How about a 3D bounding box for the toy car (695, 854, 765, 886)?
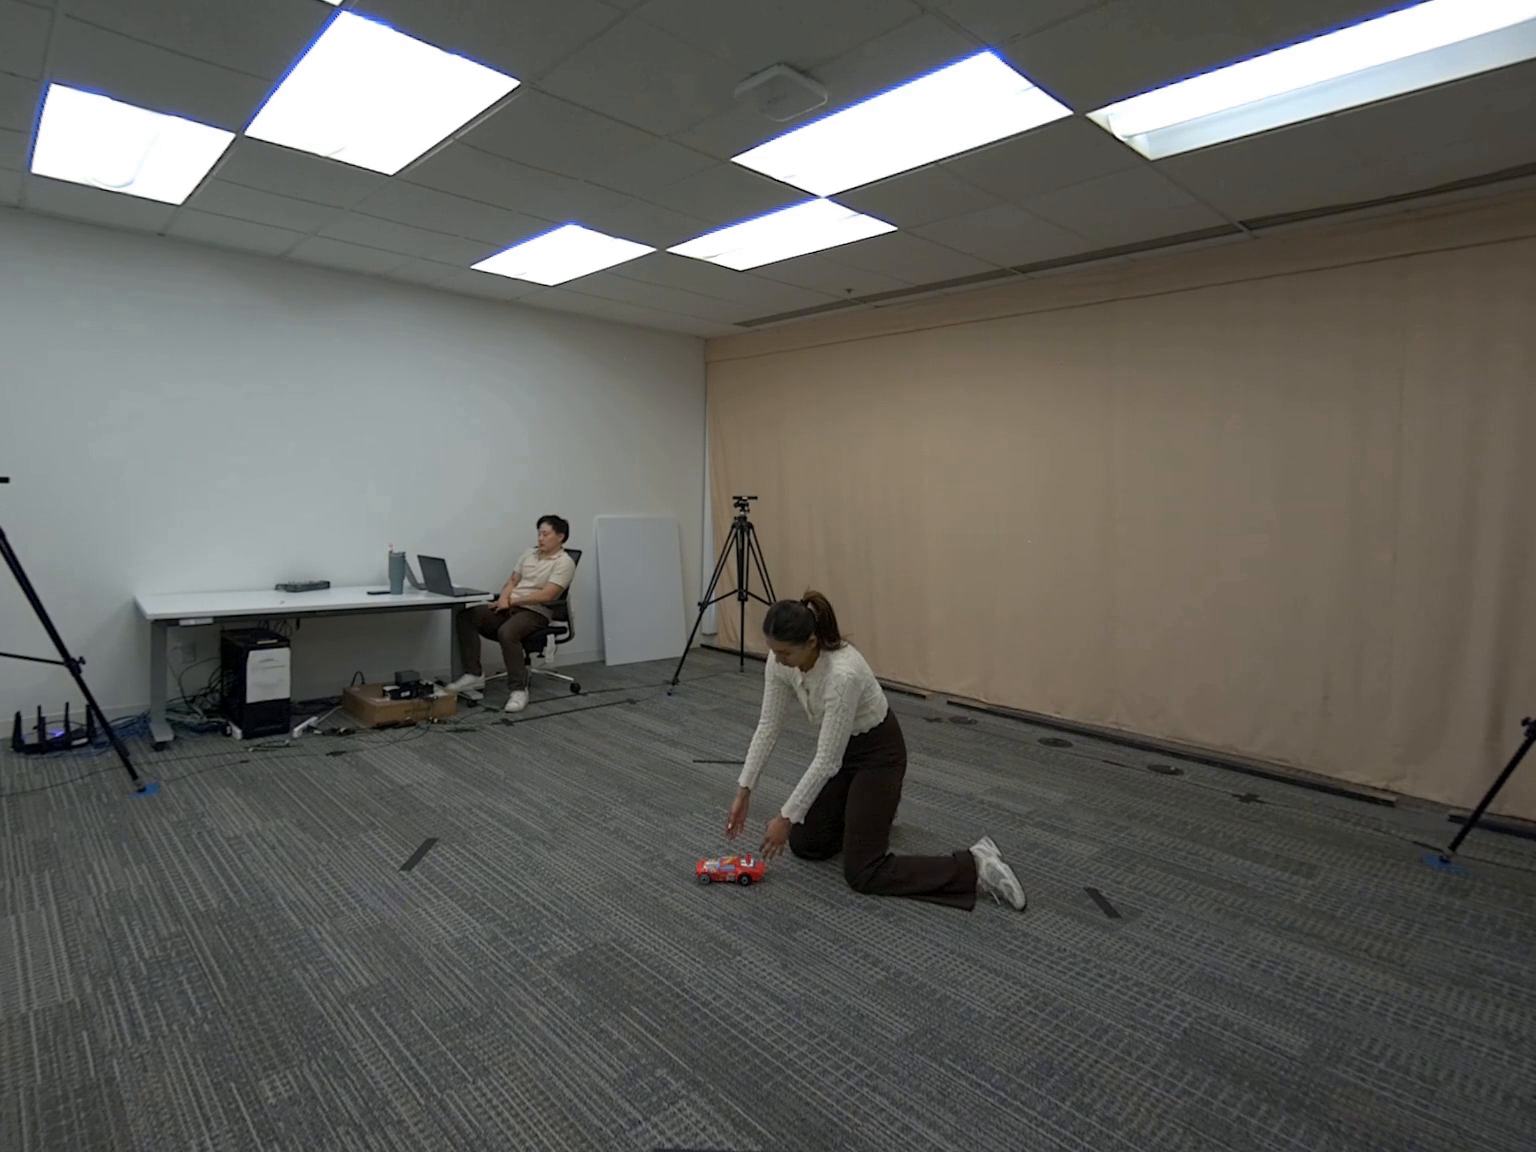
[{"bbox_3d":[-0.136,1.069,3.072,0.255,0.083,0.130,-10,5,2],"label":"toy car"}]
